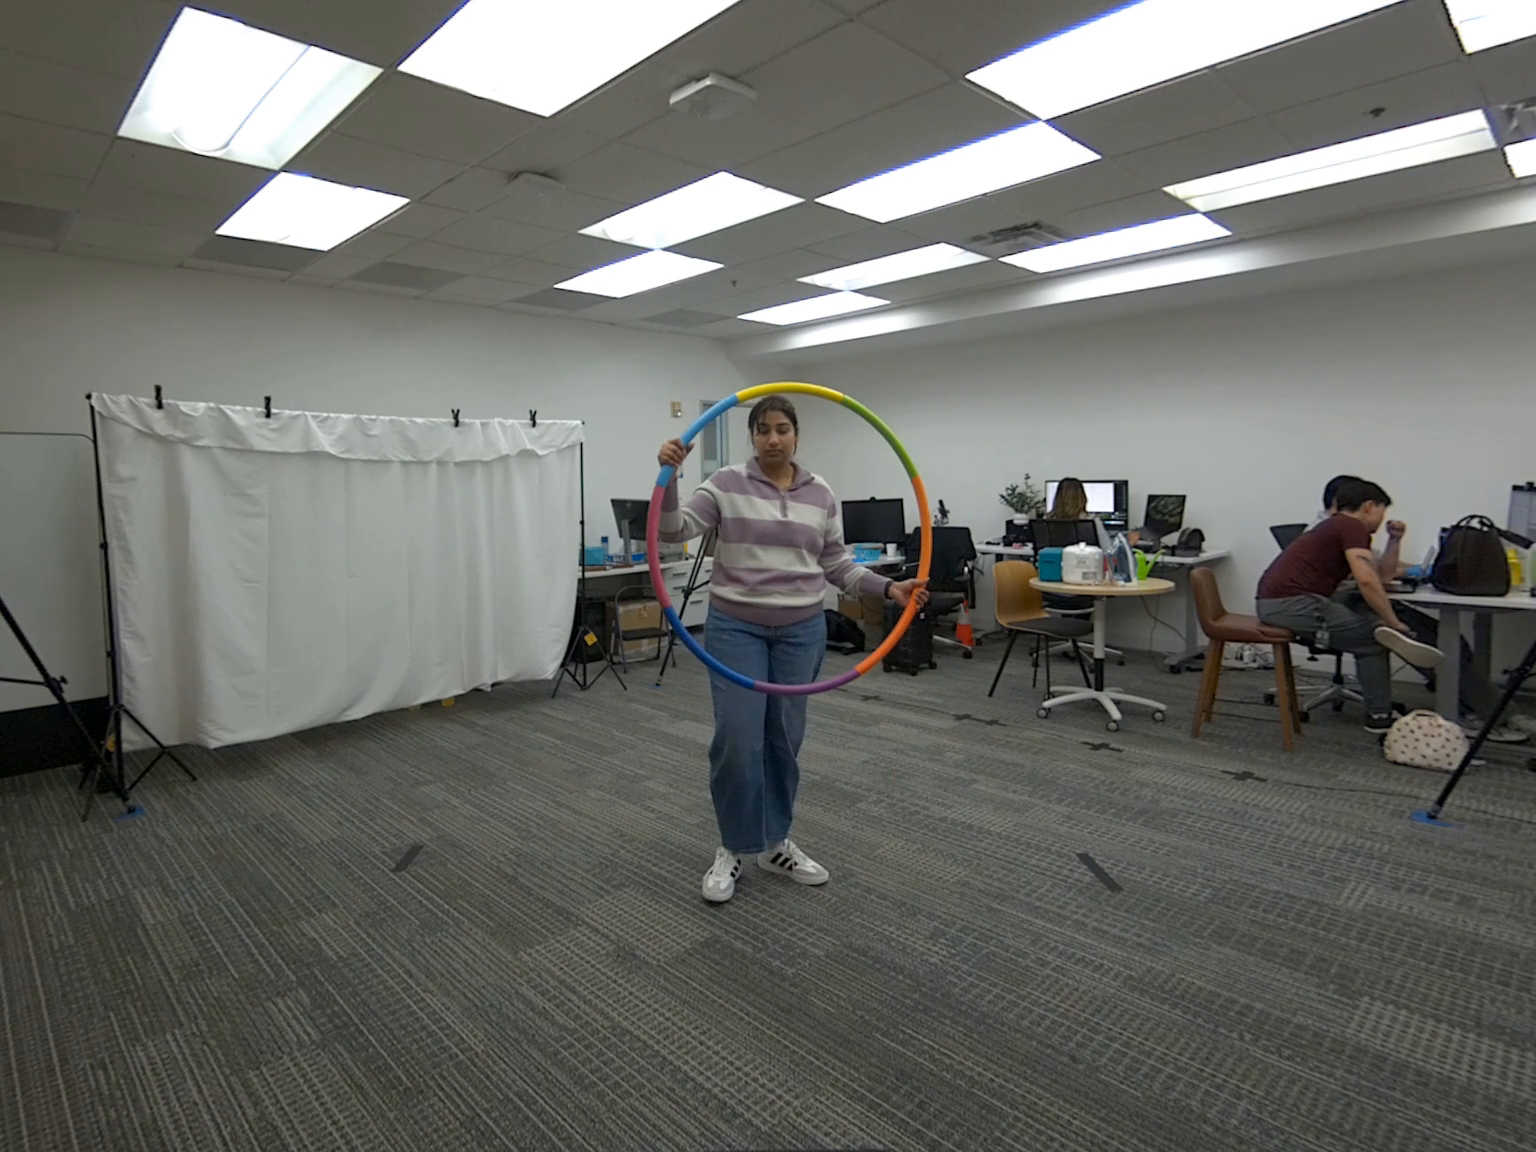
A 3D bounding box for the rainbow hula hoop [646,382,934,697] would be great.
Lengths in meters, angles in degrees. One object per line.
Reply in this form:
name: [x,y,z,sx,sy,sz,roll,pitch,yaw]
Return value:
rainbow hula hoop: [0.089,-0.122,2.692,0.961,0.980,0.036,-3,-2,-20]
